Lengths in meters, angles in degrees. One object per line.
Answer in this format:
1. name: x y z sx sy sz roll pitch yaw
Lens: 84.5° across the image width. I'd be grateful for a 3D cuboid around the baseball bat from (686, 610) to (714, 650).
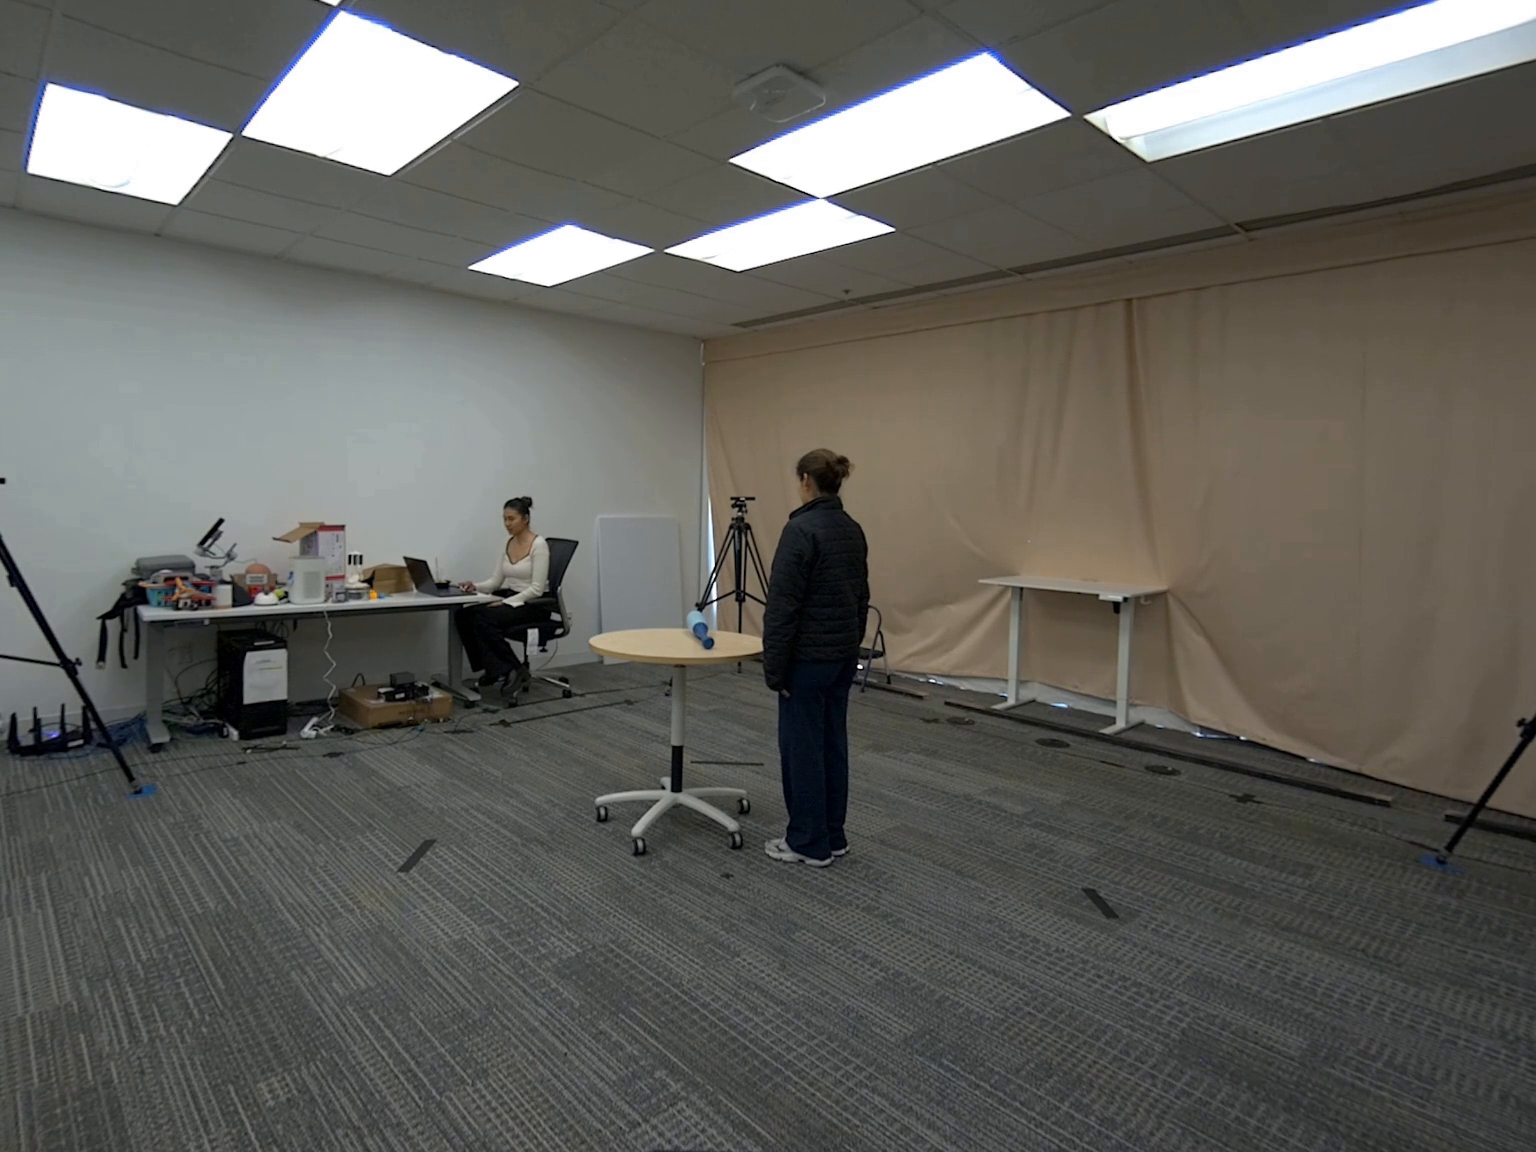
1. baseball bat: -0.322 0.245 3.655 0.088 0.088 0.550 1 9 -10
